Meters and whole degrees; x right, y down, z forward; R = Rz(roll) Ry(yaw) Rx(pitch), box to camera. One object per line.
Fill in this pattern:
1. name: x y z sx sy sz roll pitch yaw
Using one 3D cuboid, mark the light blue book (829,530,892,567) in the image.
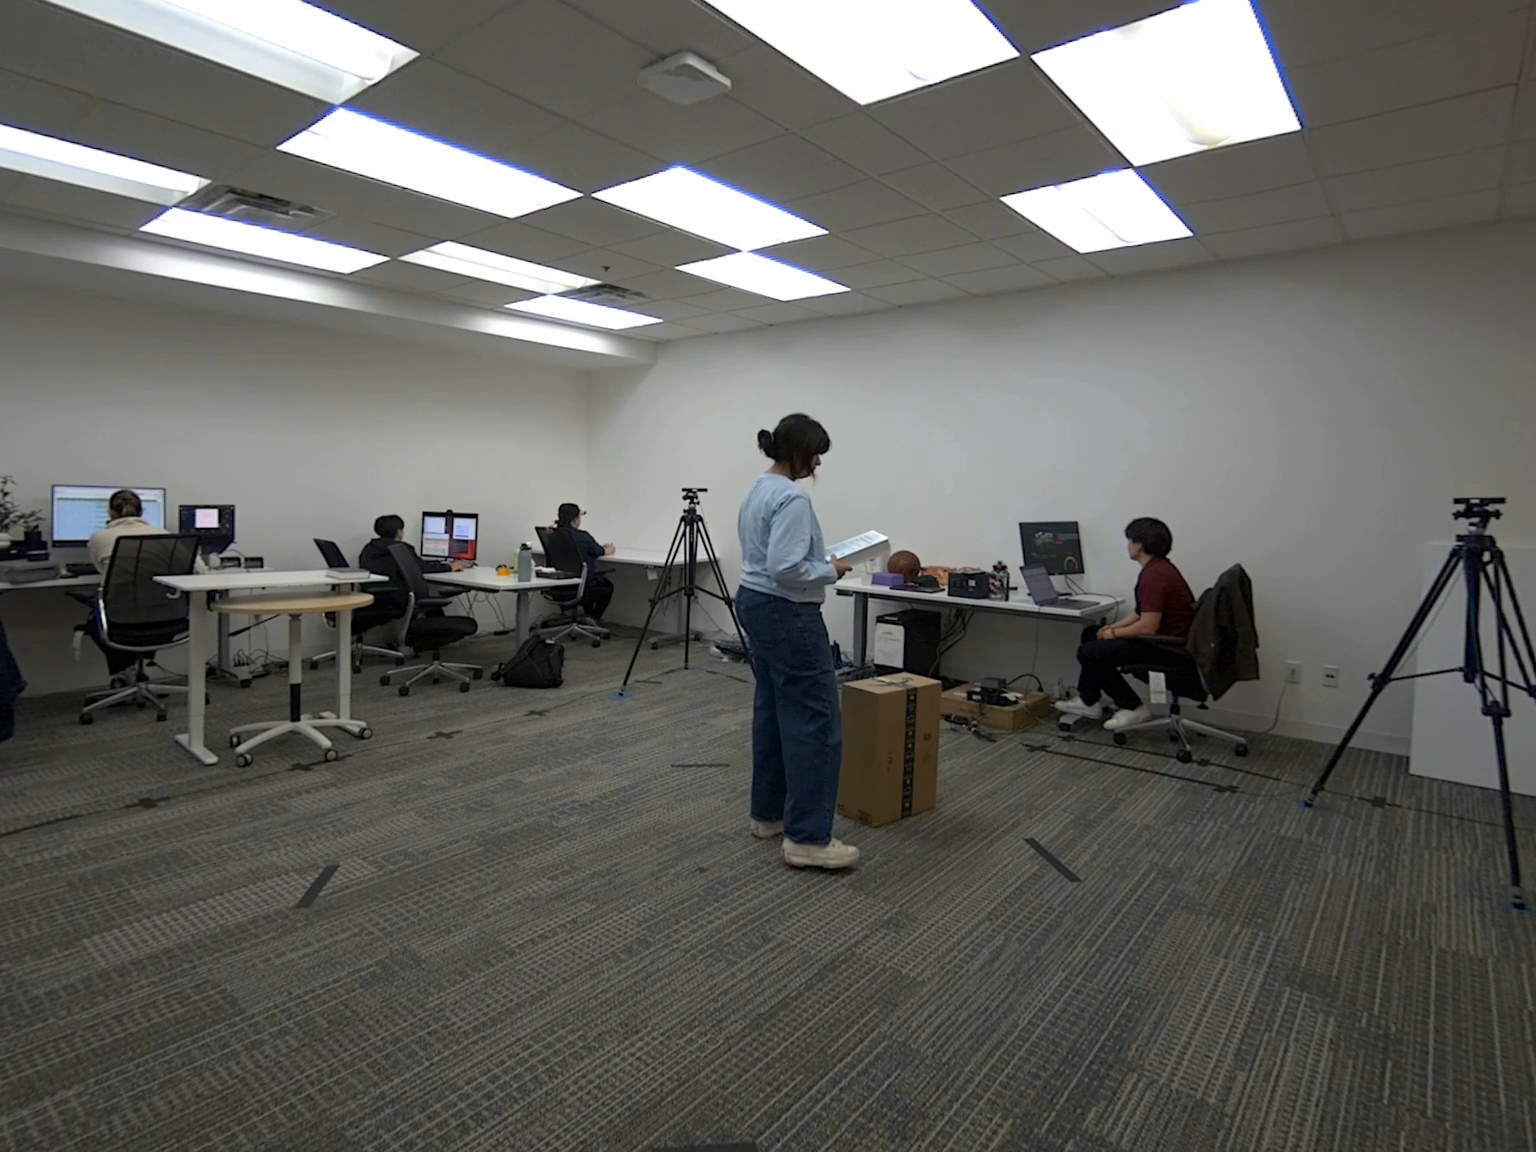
1. light blue book: 0.348 -0.103 3.428 0.259 0.058 0.196 -21 16 -10
